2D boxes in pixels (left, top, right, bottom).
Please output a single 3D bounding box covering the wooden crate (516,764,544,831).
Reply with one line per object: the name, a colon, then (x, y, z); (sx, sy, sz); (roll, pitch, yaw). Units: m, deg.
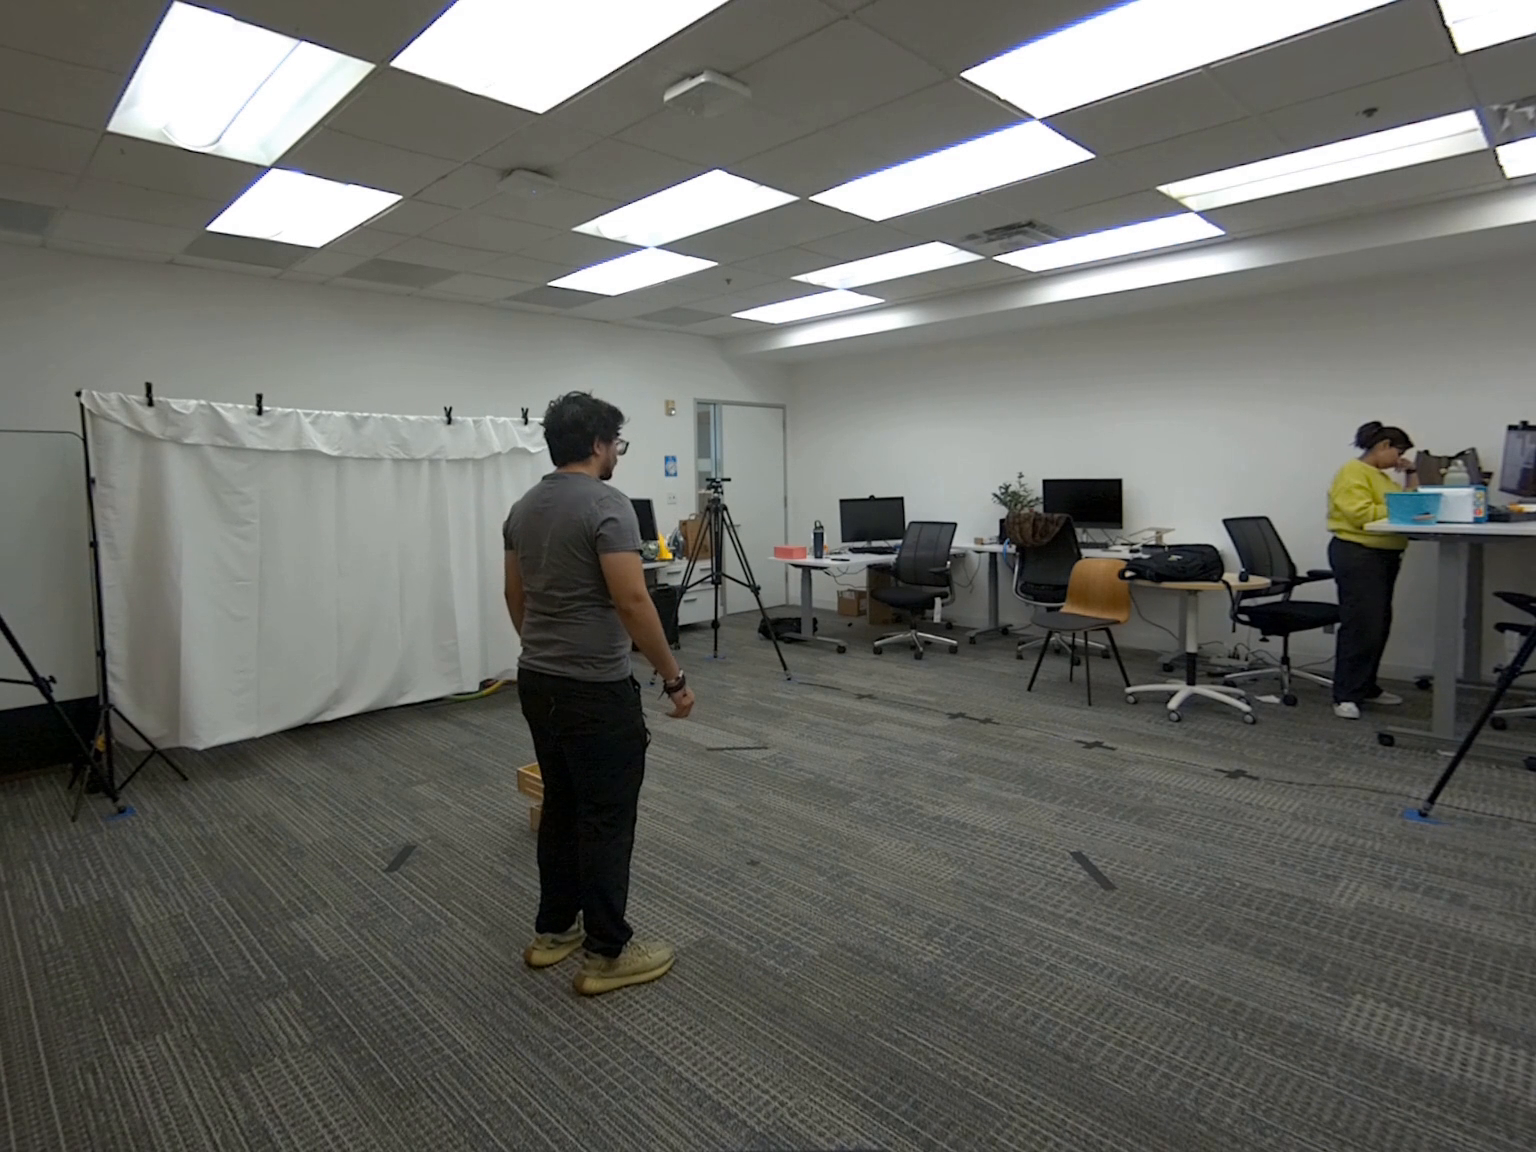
wooden crate: (-0.782, 0.890, 3.411); (0.334, 0.272, 0.294); (4, 8, 44)
